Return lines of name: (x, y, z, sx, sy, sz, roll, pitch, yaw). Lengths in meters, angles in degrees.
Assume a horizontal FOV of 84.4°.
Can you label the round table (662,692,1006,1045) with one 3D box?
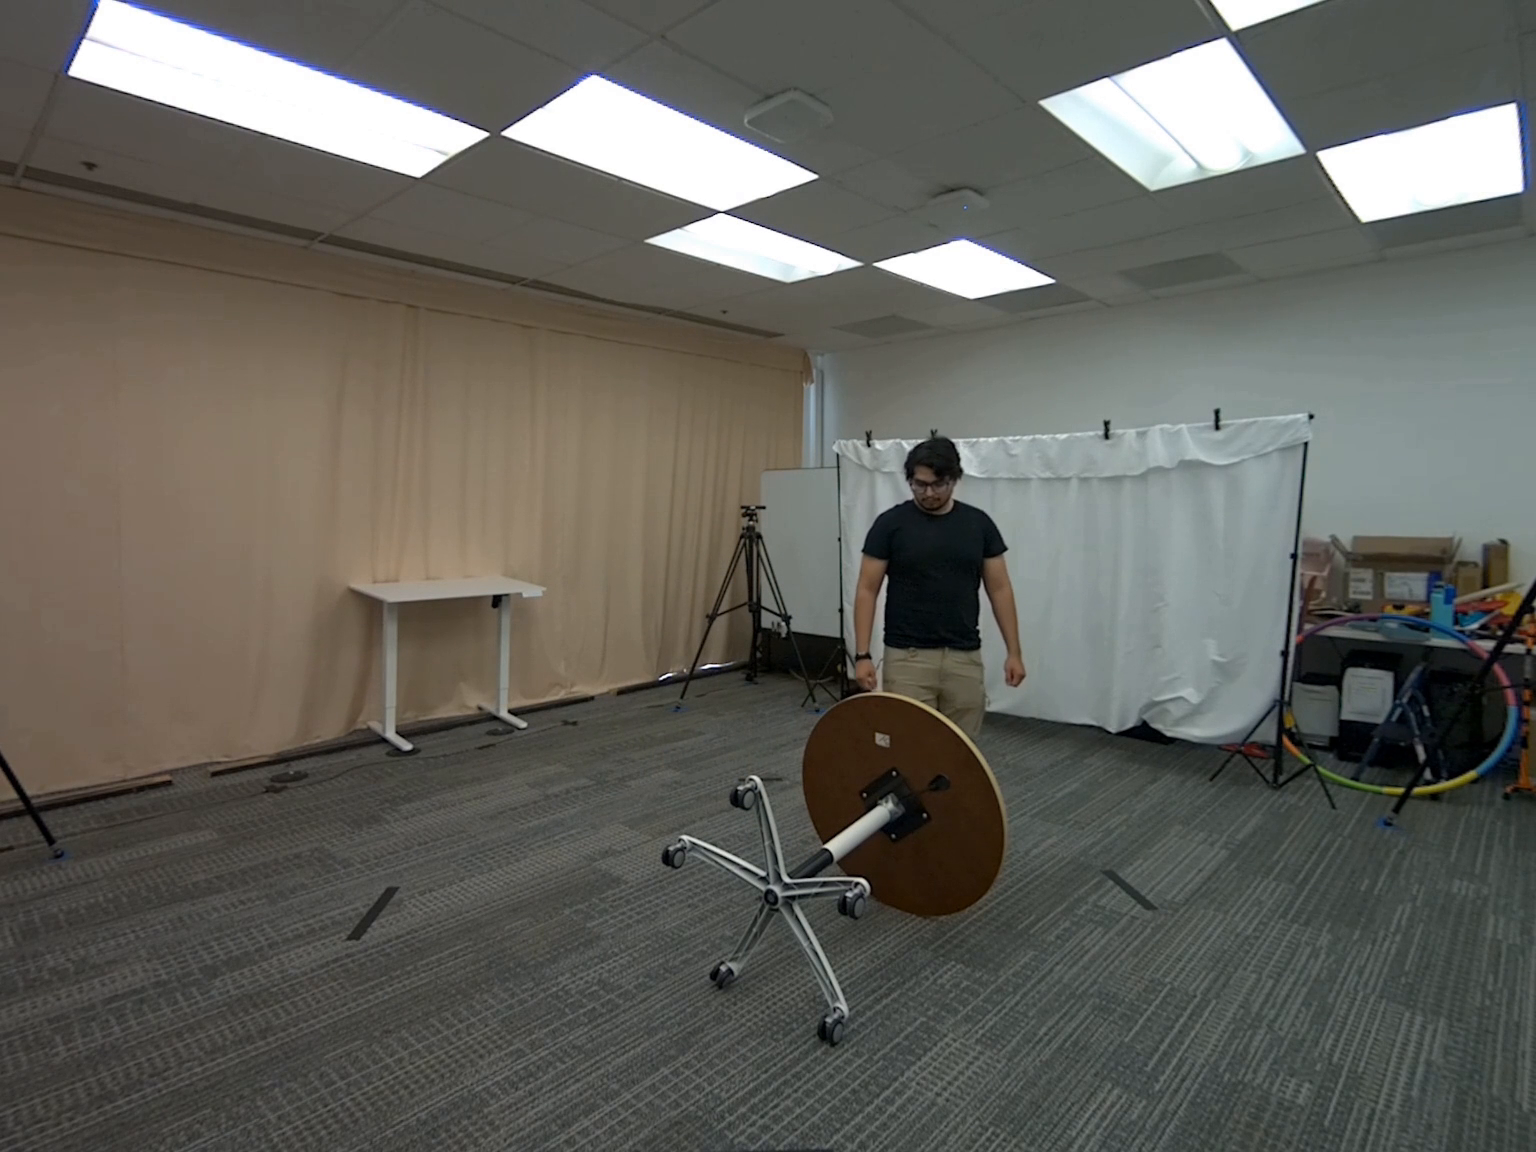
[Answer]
round table: (0.202, 0.845, 2.572, 0.811, 0.780, 0.766, 3, 12, 40)
